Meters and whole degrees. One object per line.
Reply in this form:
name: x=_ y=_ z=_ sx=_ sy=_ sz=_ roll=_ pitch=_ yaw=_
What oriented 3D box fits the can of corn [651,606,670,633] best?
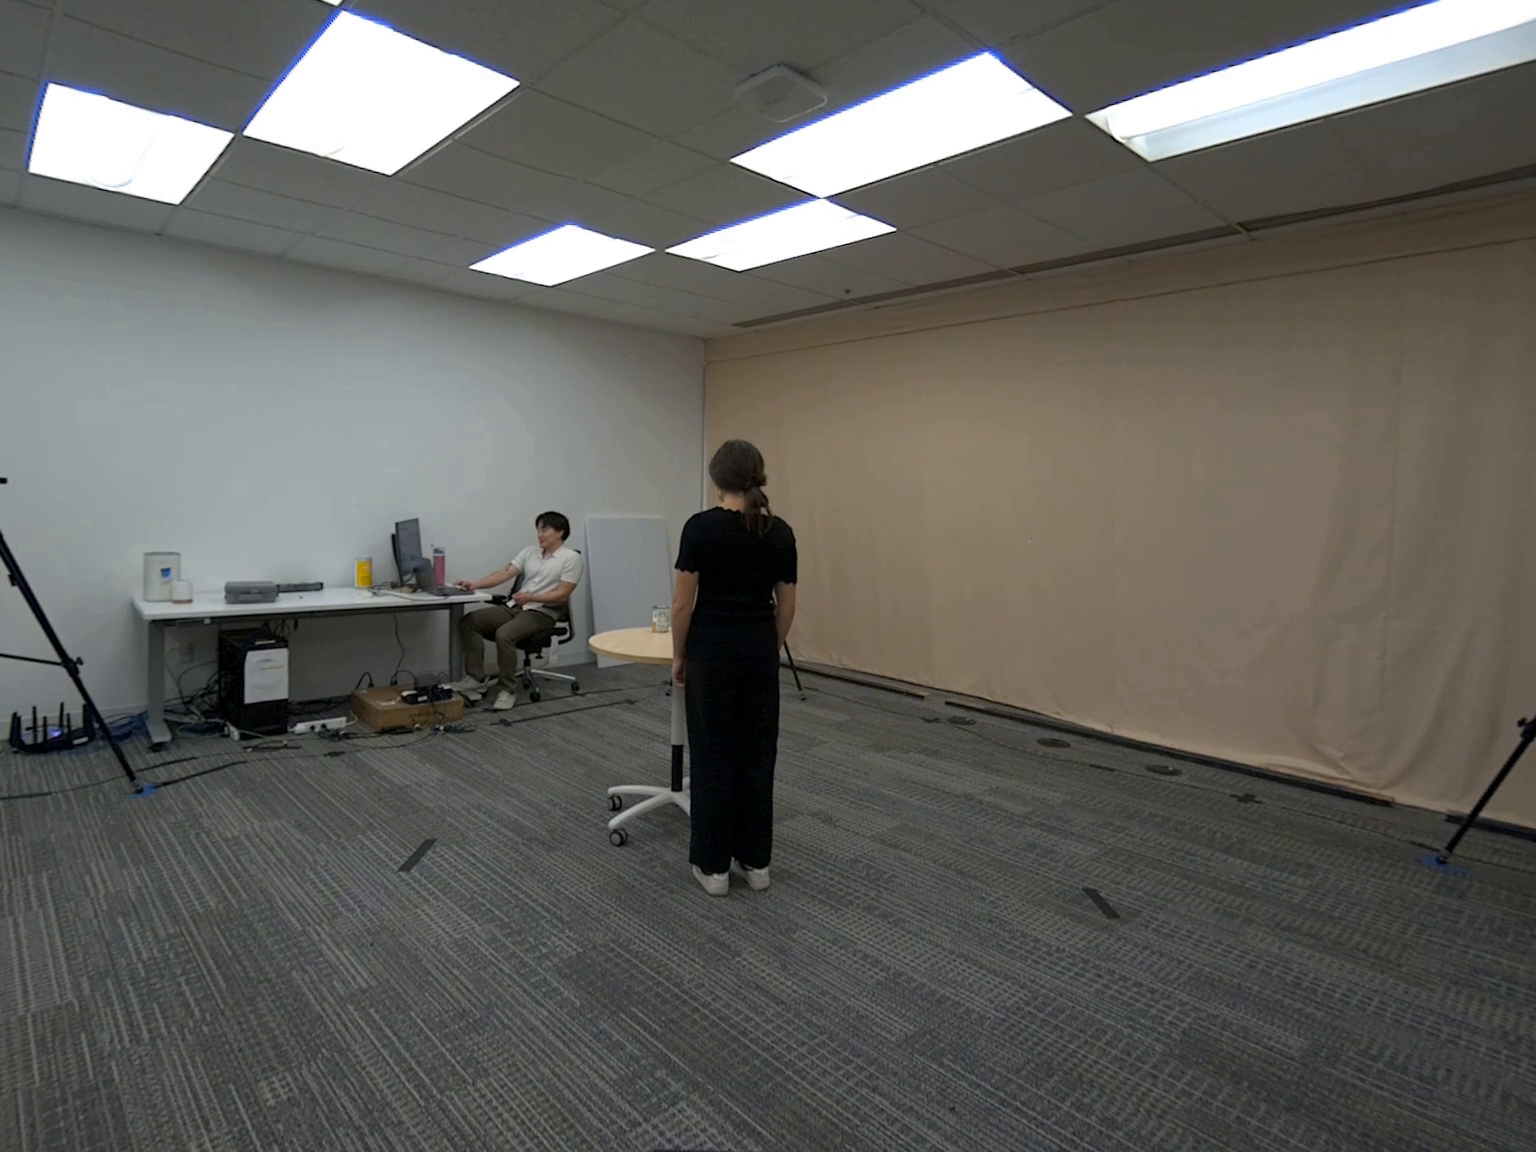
can of corn: x=-0.495 y=0.197 z=3.798 sx=0.074 sy=0.111 sz=0.074 roll=1 pitch=-1 yaw=-1
